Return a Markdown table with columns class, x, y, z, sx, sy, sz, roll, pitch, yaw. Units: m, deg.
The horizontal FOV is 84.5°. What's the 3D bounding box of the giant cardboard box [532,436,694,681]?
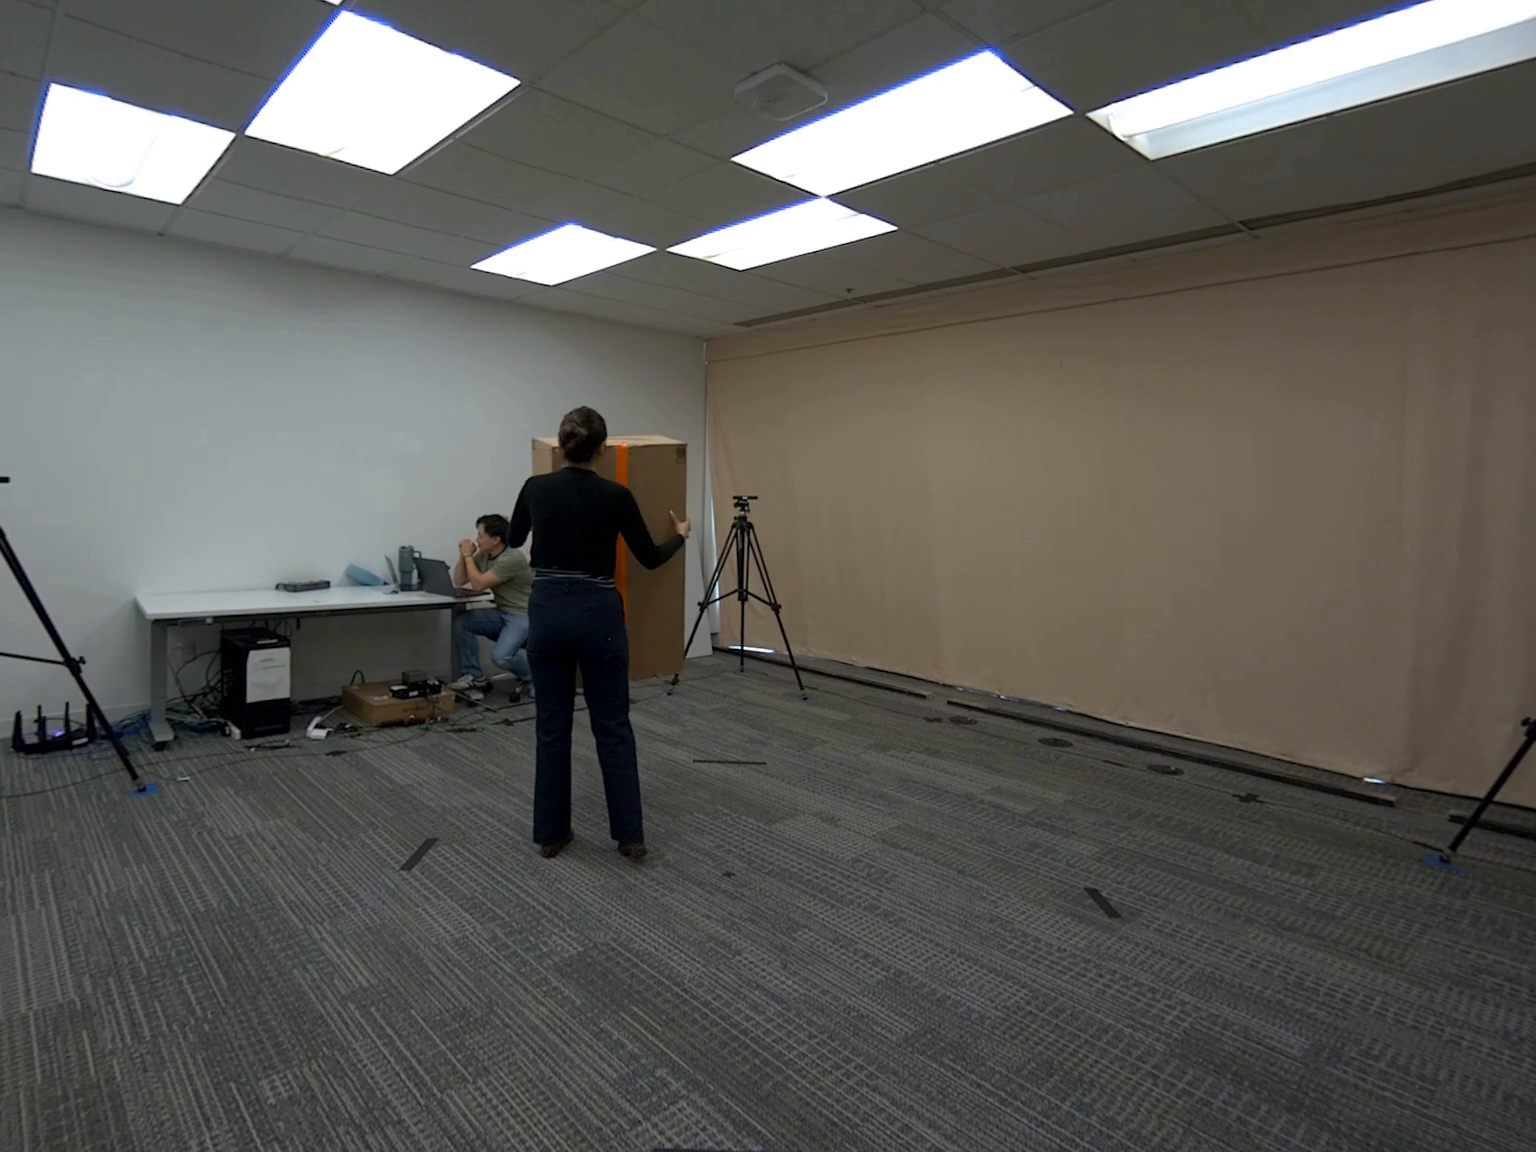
| class | x | y | z | sx | sy | sz | roll | pitch | yaw |
| --- | --- | --- | --- | --- | --- | --- | --- | --- | --- |
| giant cardboard box | -0.705 | -0.083 | 3.704 | 0.568 | 1.017 | 0.437 | -4 | 13 | -25 |
